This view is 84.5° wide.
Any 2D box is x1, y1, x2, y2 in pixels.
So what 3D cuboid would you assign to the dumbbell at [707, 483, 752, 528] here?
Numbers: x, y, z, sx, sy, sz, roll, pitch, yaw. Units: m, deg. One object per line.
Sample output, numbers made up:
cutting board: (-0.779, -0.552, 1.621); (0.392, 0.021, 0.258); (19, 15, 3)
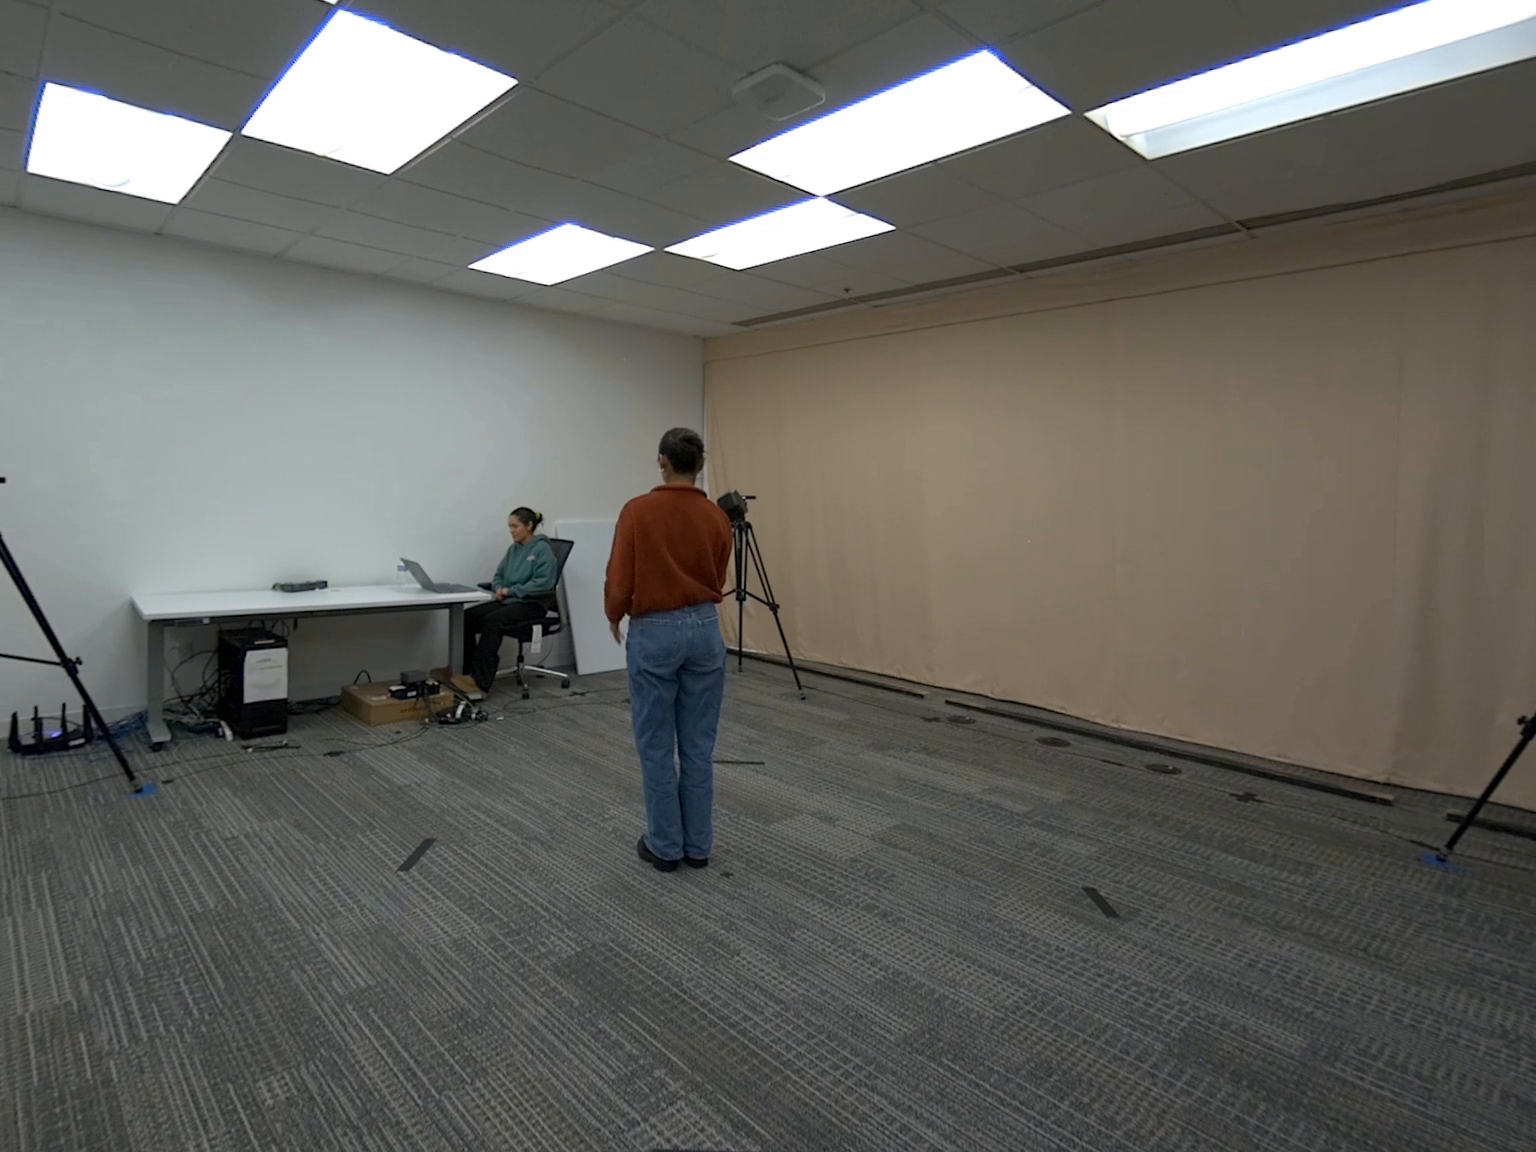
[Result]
dumbbell: (-0.233, -0.227, 3.307); (0.295, 0.125, 0.106); (-29, -21, 19)
